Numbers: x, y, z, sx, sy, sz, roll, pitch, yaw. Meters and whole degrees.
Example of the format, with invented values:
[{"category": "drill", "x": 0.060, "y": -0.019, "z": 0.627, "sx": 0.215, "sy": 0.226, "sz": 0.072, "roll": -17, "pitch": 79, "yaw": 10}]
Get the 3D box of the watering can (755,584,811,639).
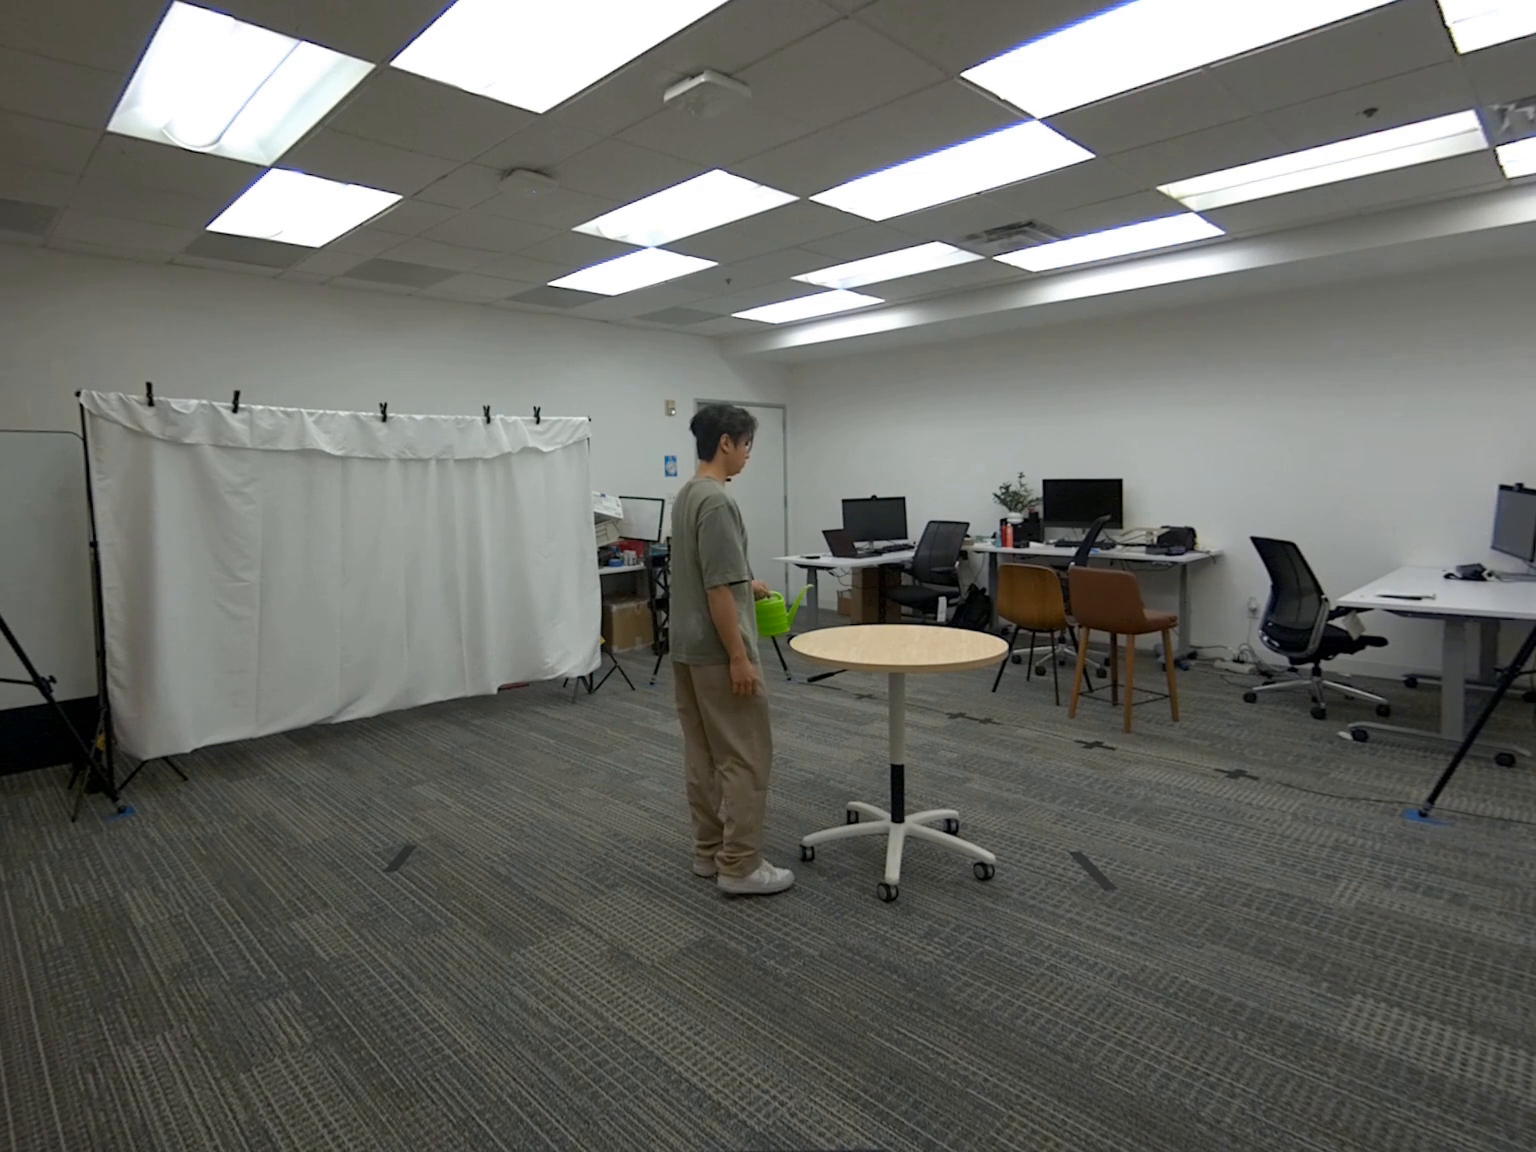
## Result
[{"category": "watering can", "x": 0.055, "y": 0.145, "z": 3.442, "sx": 0.282, "sy": 0.175, "sz": 0.098, "roll": -6, "pitch": 10, "yaw": 15}]
